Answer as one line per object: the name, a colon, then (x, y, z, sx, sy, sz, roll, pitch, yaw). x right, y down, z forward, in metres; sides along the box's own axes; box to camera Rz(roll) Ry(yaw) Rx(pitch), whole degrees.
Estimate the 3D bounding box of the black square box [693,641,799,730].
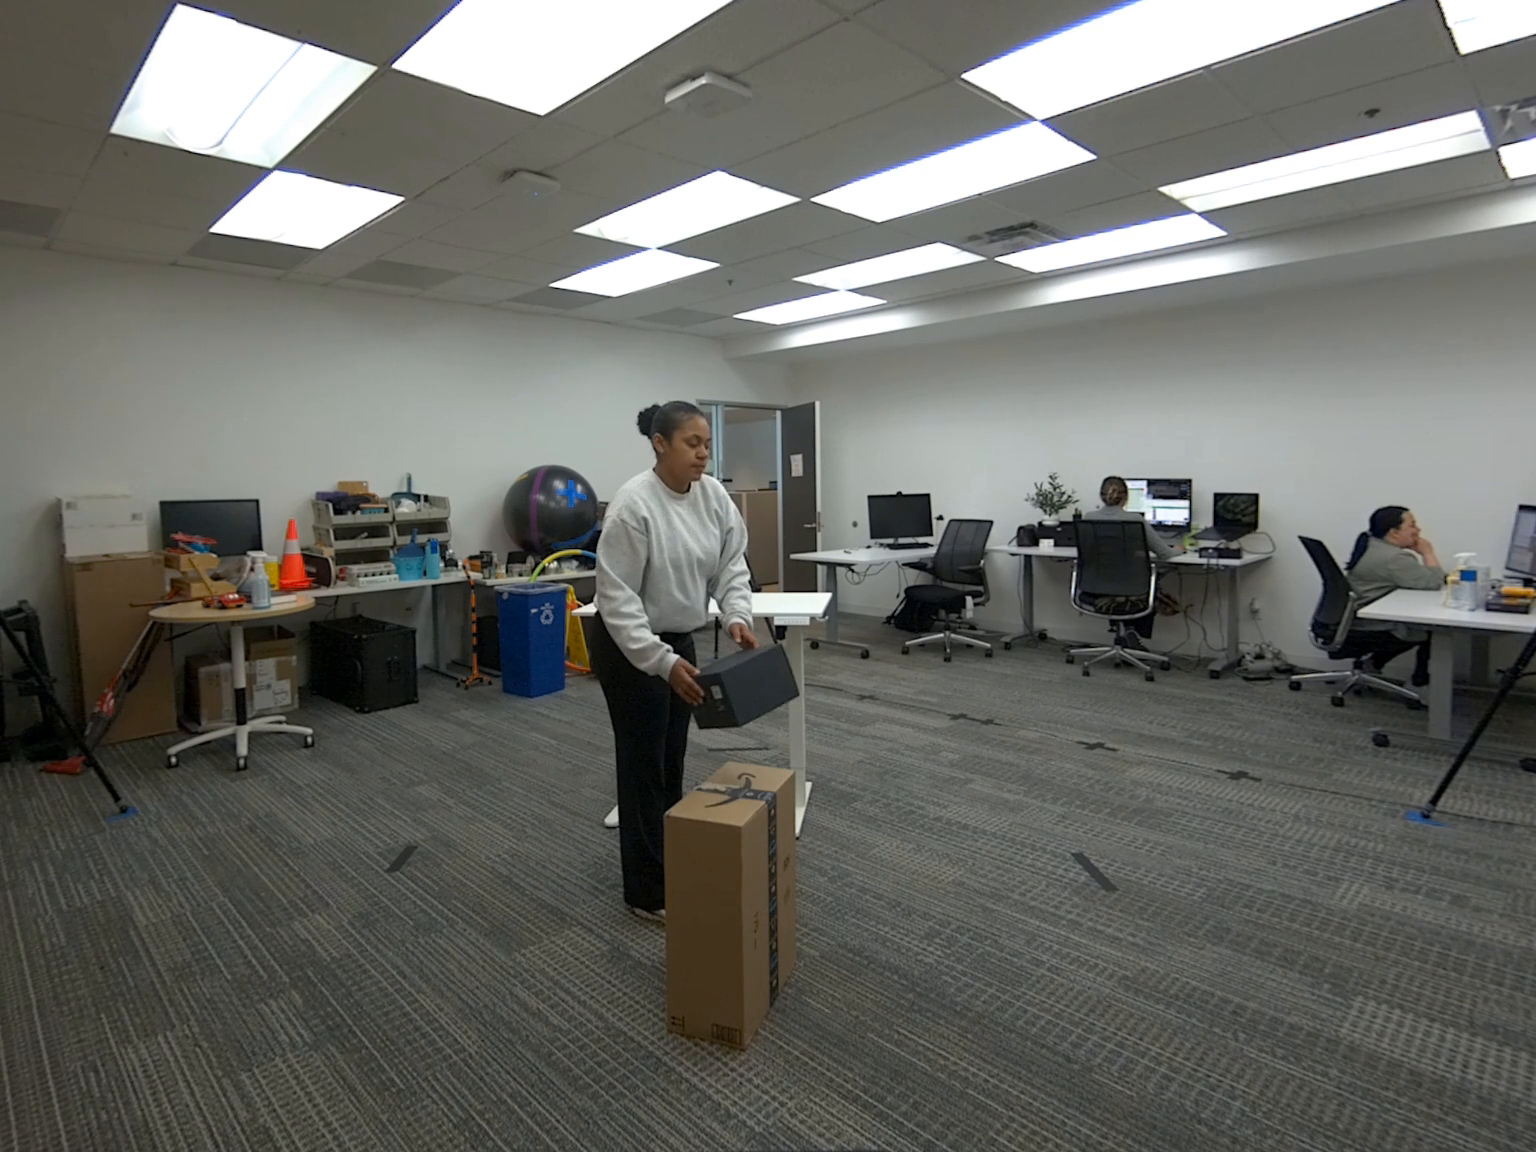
black square box: (-0.078, 0.314, 2.406, 0.224, 0.156, 0.221, -21, 1, -38)
